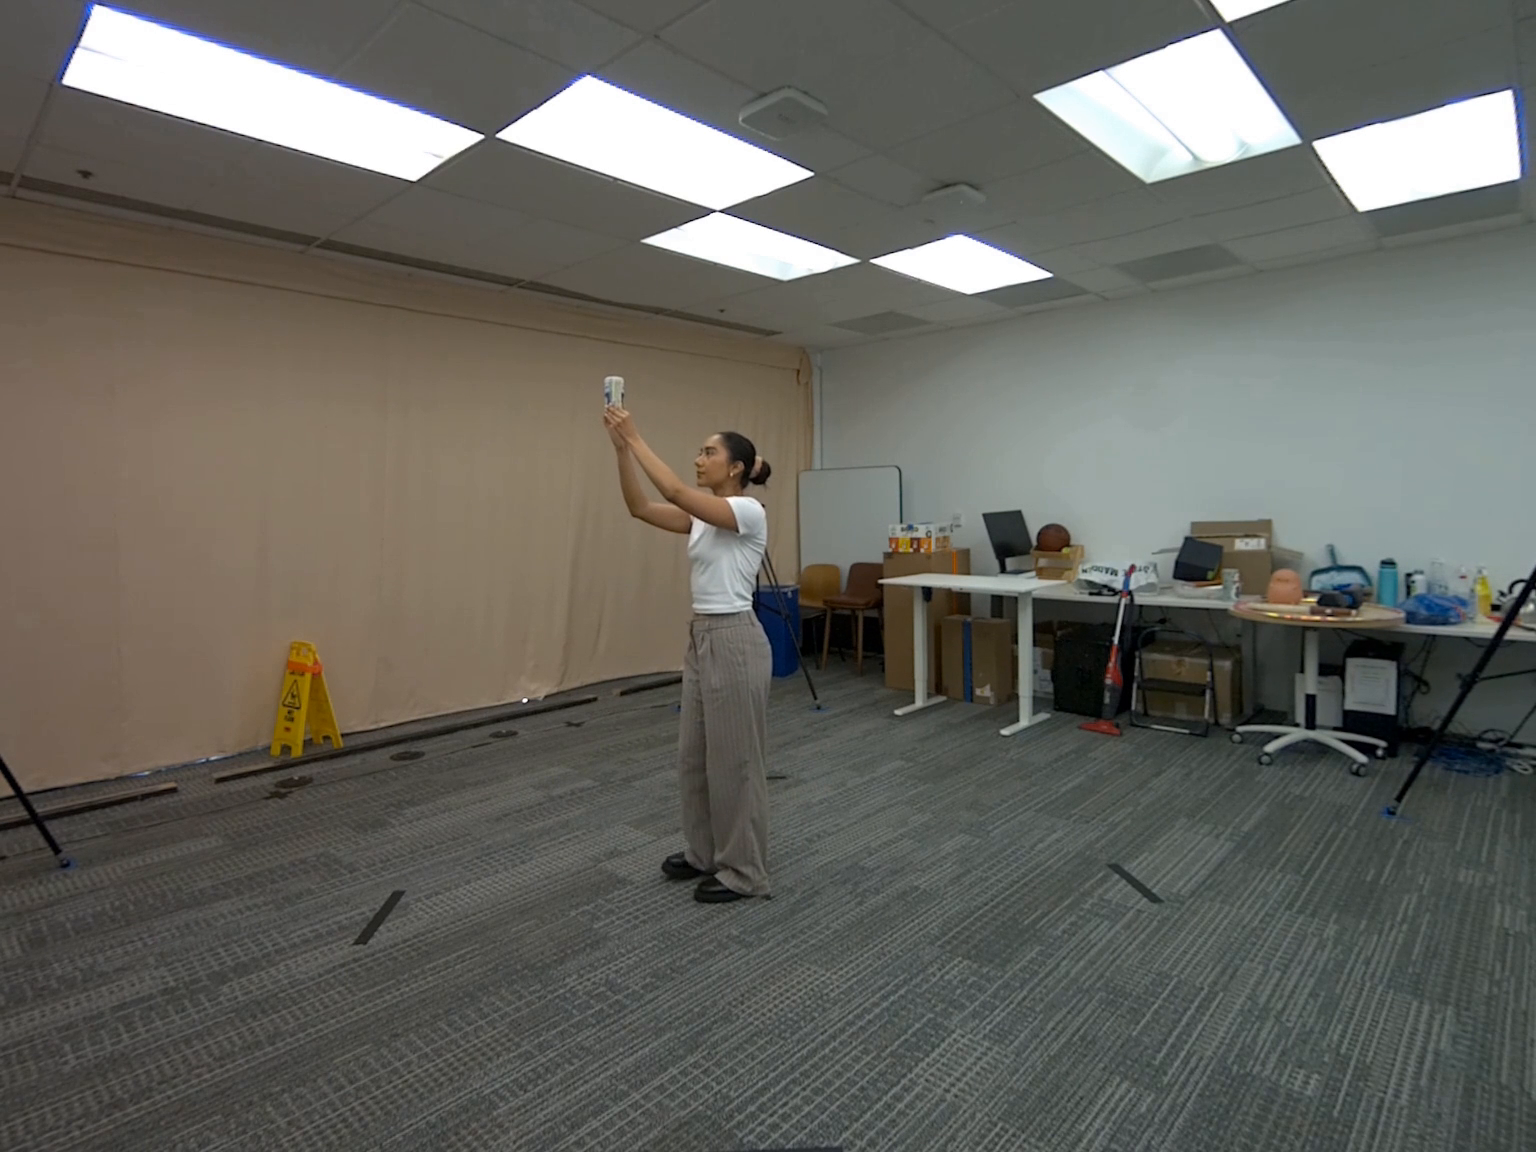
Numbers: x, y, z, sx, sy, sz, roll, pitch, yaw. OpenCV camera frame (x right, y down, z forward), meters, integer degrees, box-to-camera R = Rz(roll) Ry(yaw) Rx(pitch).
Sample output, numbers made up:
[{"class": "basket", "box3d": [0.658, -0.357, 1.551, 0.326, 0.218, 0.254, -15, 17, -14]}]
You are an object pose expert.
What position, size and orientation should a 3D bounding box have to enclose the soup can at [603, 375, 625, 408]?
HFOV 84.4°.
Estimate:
[{"class": "soup can", "box3d": [-0.517, -0.616, 2.873, 0.067, 0.122, 0.067, -3, -2, -2]}]
